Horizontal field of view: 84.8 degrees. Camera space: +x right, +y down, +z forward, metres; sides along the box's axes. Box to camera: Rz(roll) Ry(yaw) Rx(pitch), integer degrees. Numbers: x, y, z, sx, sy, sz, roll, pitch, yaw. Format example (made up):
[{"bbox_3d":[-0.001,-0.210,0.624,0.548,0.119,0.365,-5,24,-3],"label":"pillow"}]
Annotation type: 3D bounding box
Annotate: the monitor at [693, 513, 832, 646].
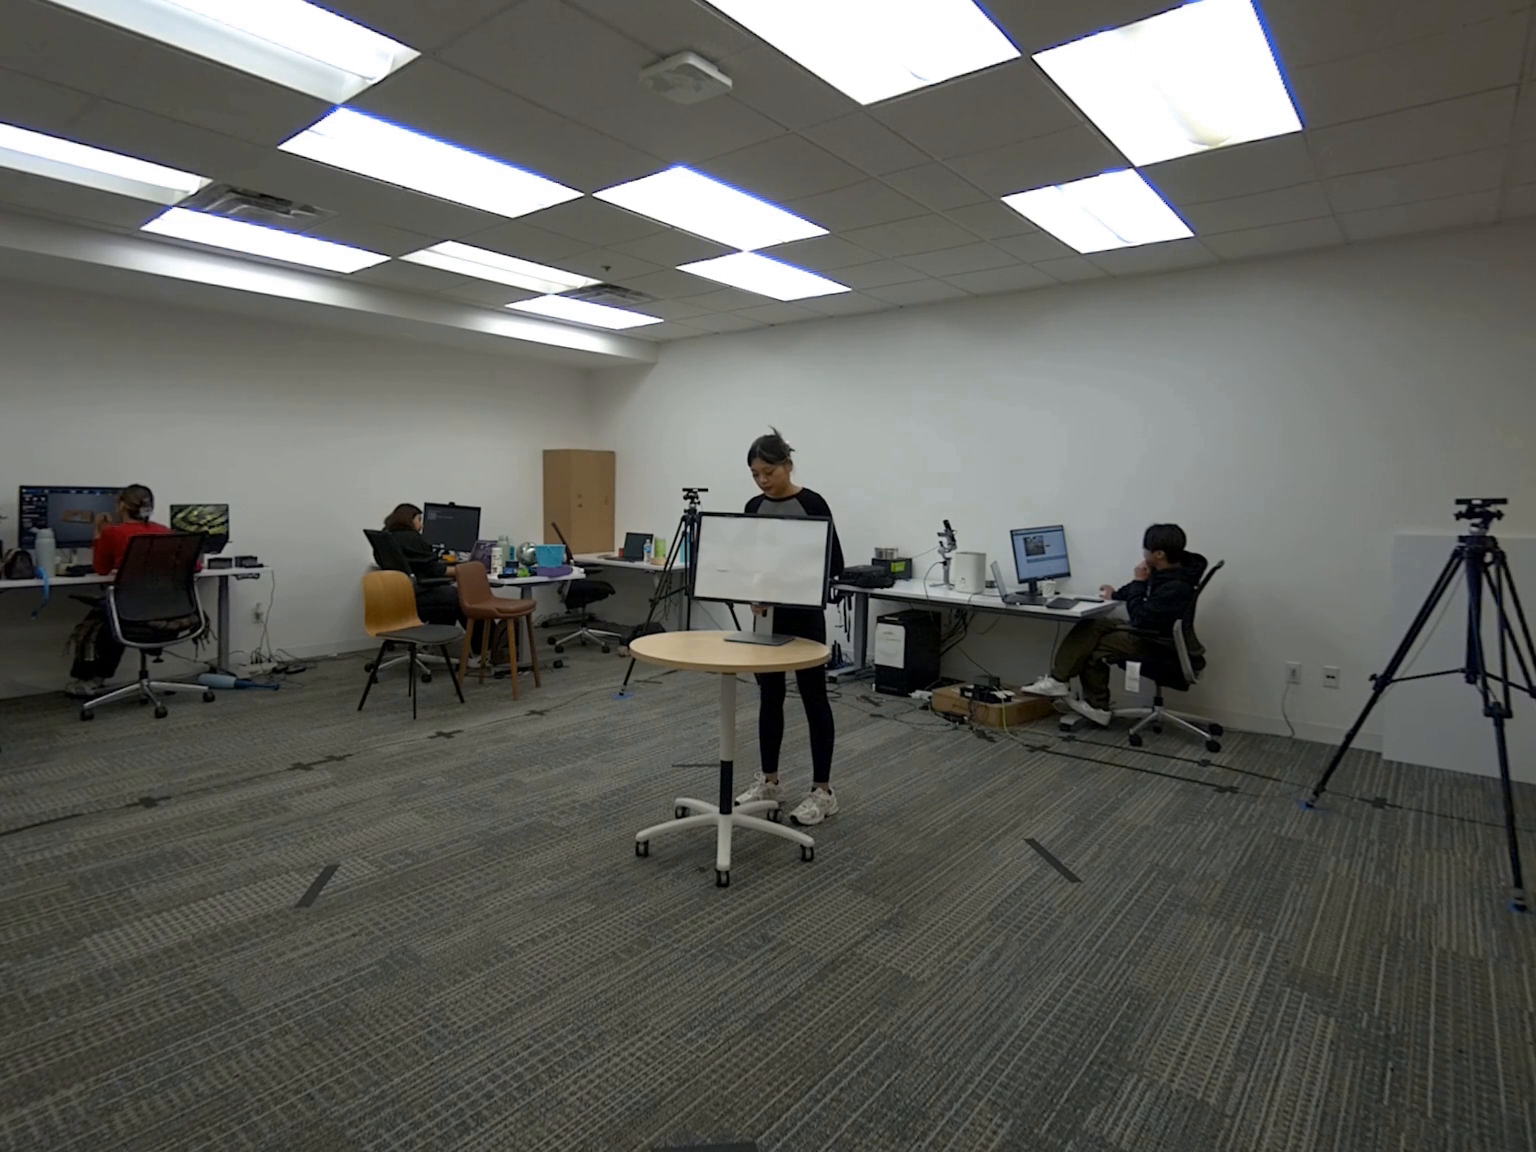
[{"bbox_3d":[-0.034,0.009,3.412,0.550,0.520,0.184,3,5,19],"label":"monitor"}]
